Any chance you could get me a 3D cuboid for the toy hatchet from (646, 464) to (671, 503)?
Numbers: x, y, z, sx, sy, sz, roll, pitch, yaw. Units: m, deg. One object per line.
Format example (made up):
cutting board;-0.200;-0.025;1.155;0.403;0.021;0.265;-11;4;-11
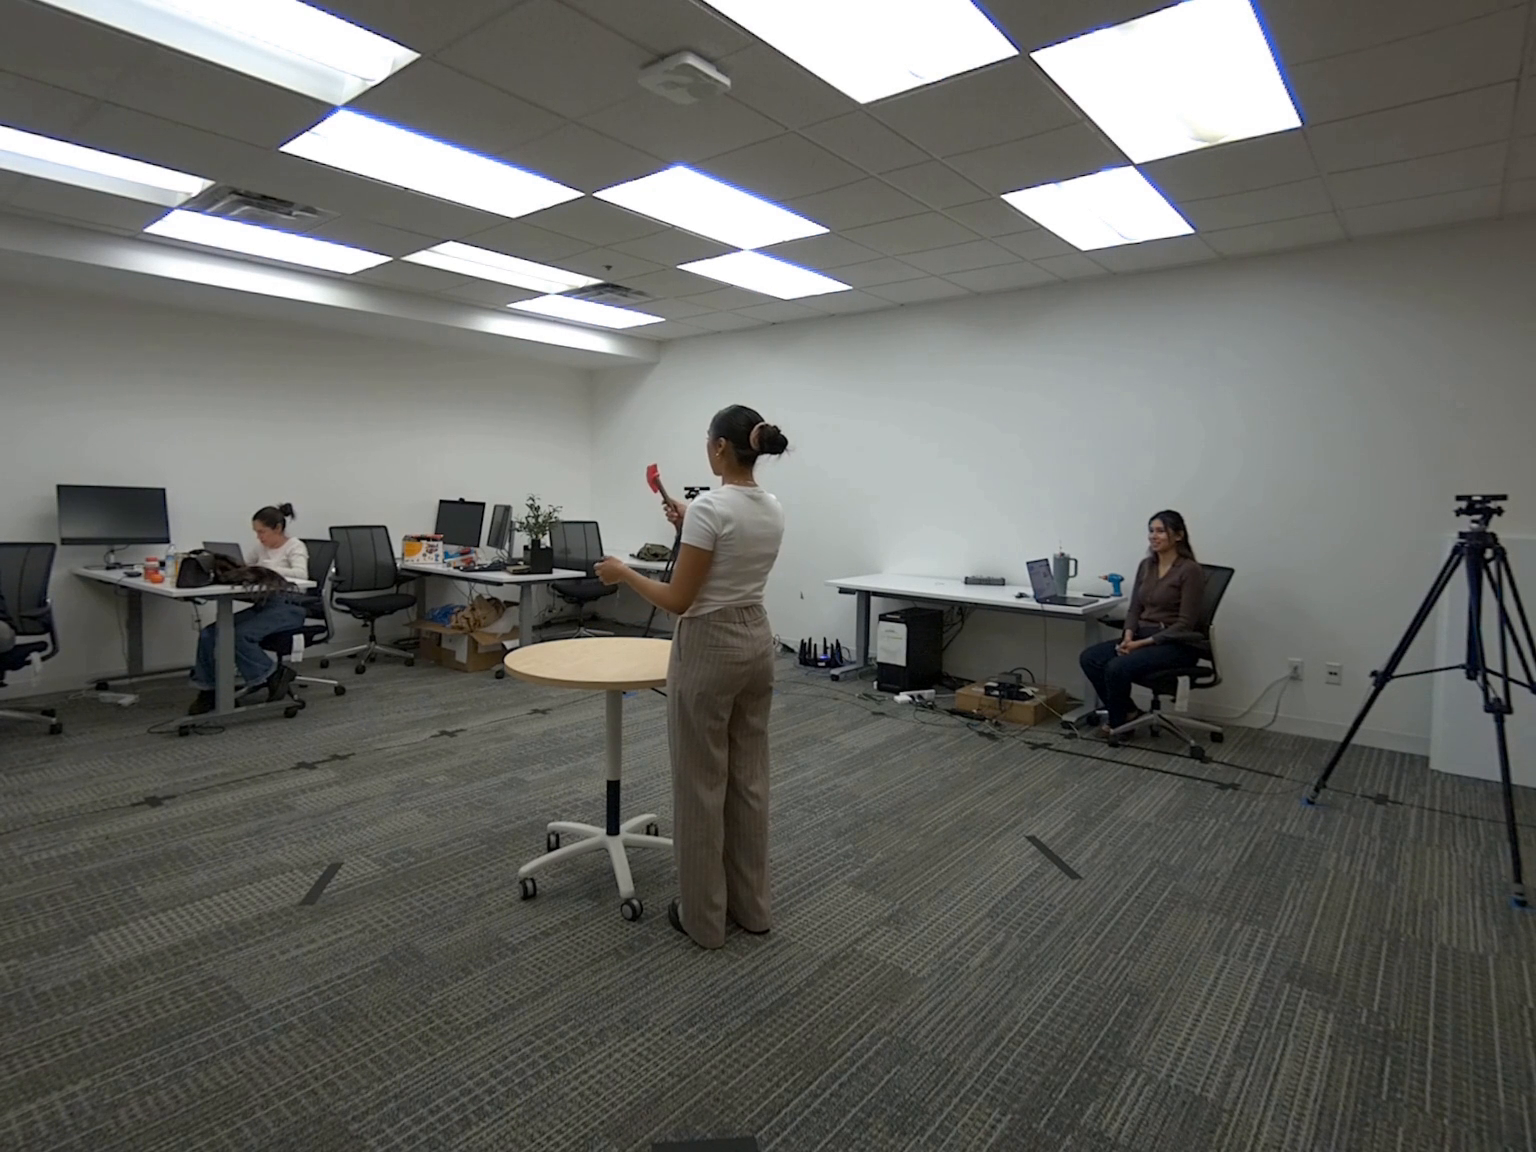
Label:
toy hatchet;-0.383;-0.269;2.990;0.029;0.271;0.133;-19;-3;-28
